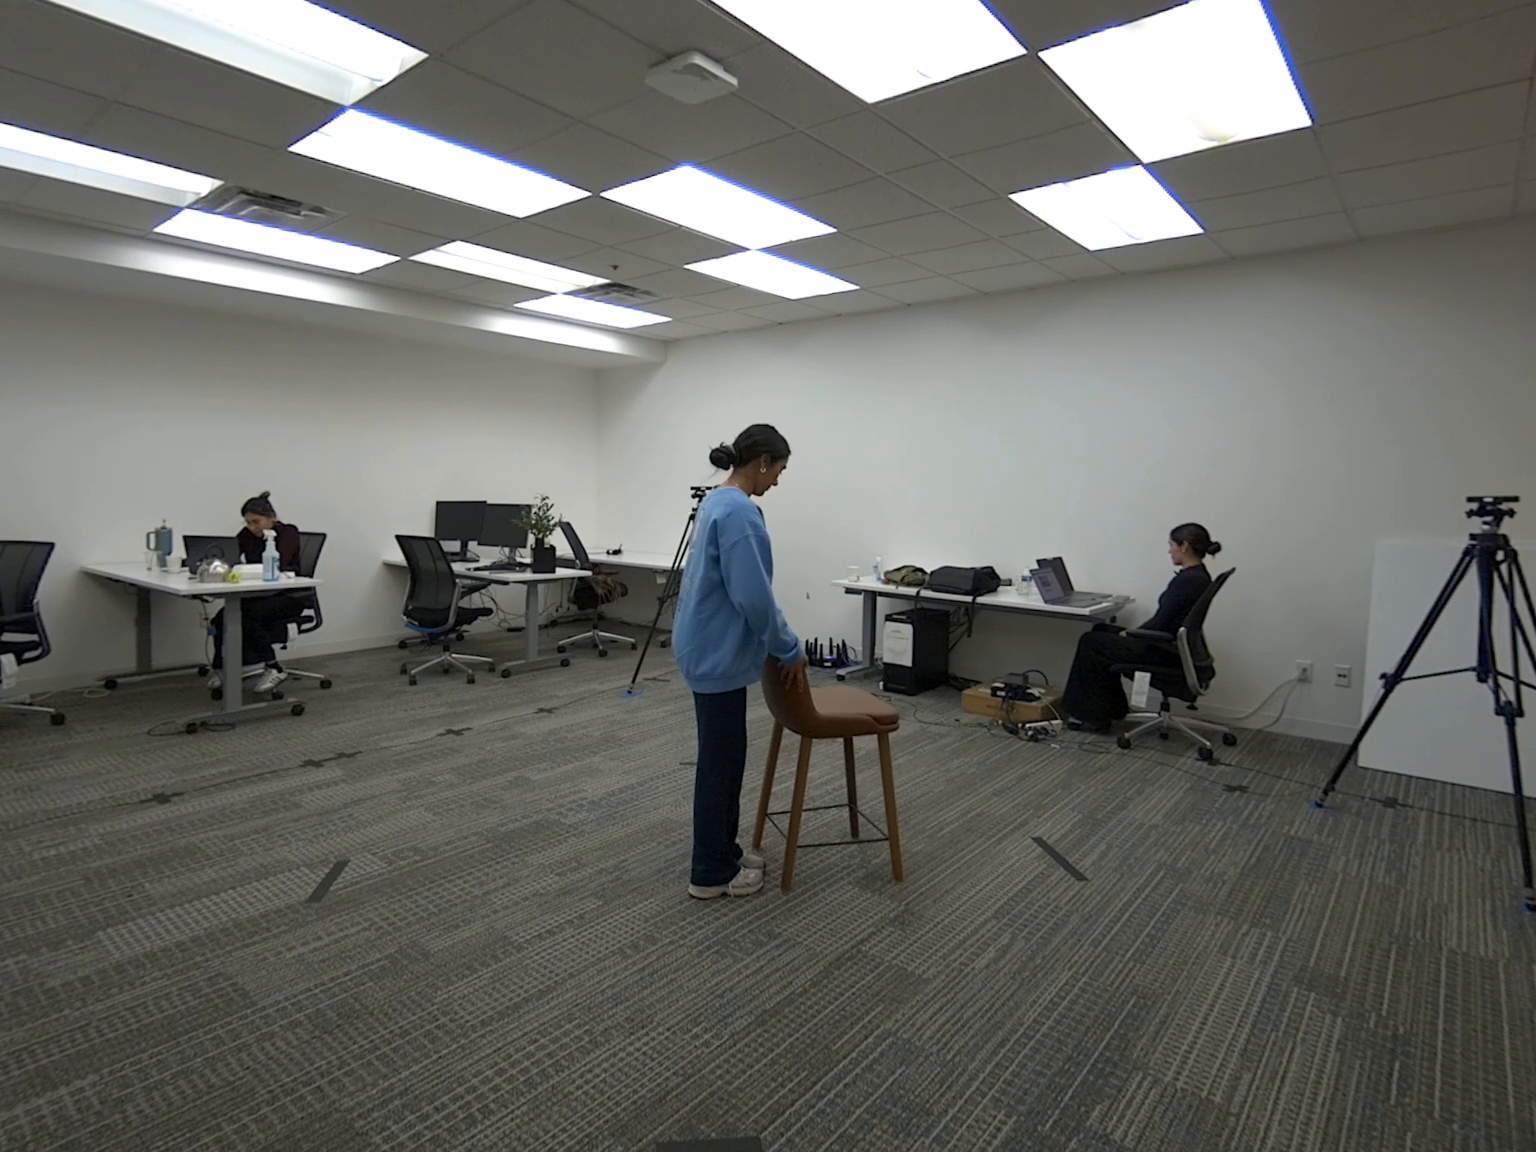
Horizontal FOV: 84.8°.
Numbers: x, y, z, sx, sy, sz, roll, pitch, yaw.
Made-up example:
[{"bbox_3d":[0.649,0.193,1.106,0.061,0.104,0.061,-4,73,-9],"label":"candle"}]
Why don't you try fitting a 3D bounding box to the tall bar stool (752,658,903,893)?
[{"bbox_3d":[0.201,0.632,3.150,0.460,0.887,0.466,-2,4,-17],"label":"tall bar stool"}]
